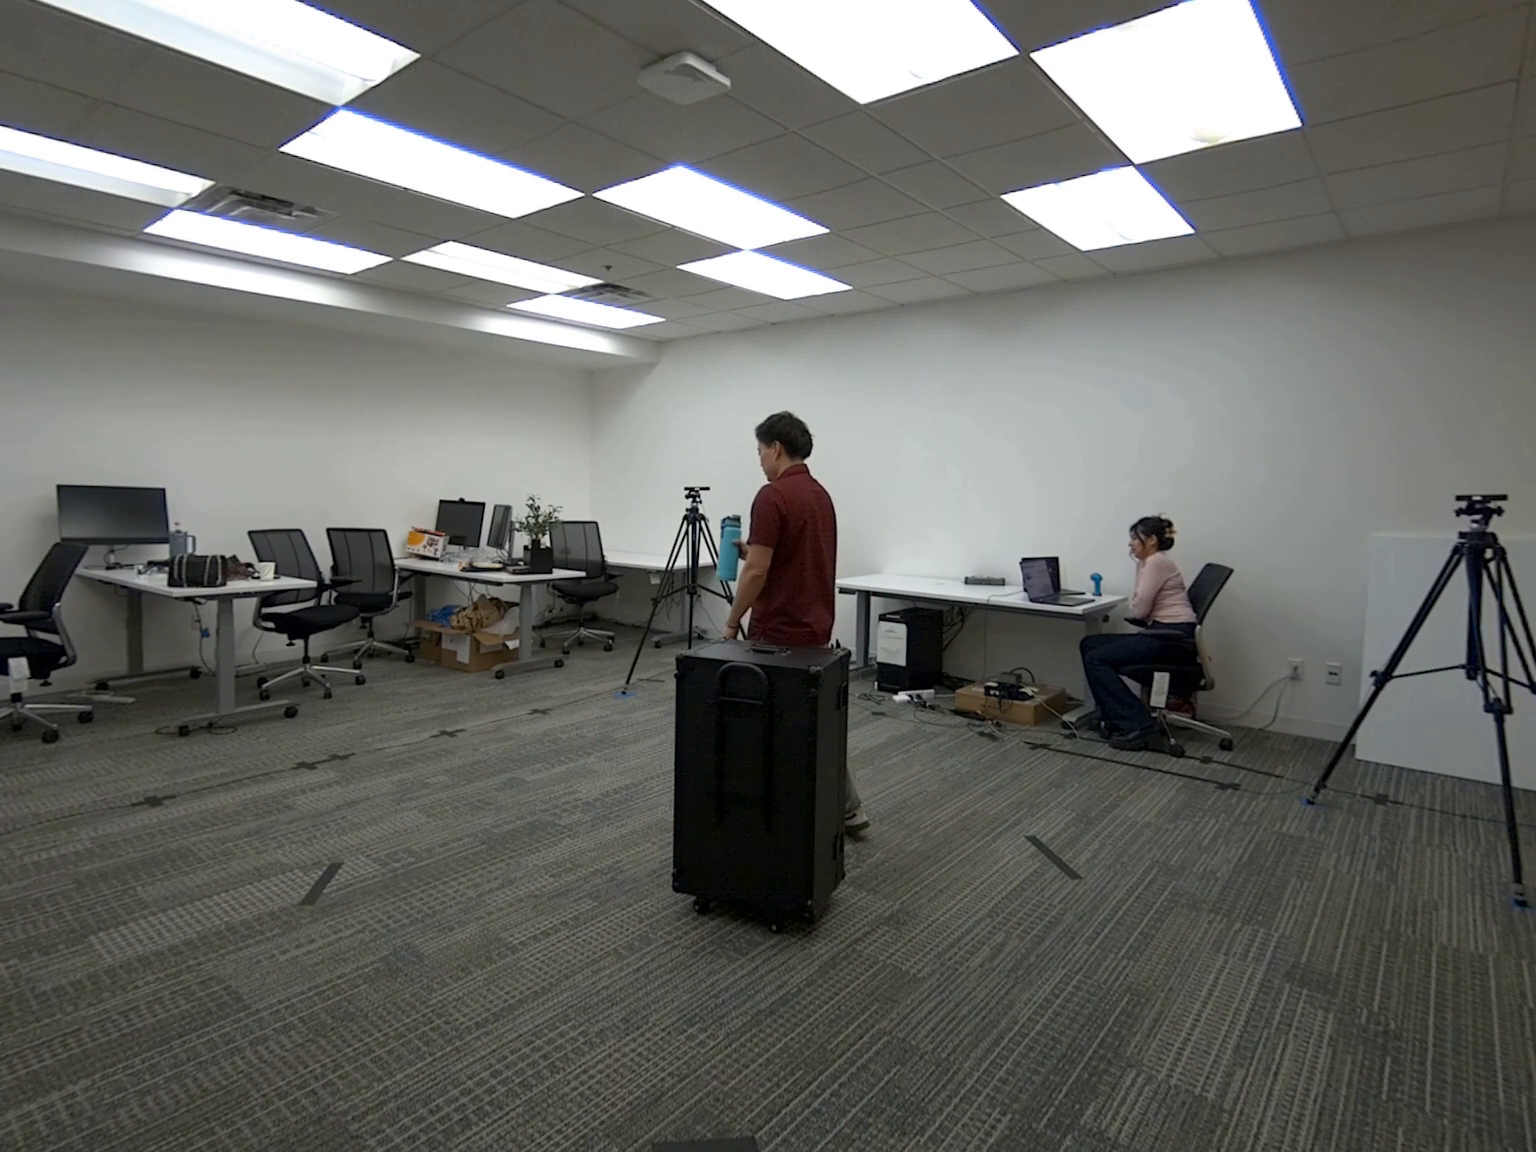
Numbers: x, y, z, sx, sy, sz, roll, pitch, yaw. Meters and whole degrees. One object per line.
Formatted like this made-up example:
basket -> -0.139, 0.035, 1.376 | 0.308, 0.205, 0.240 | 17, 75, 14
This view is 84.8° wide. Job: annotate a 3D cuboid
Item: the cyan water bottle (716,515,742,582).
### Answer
cyan water bottle -> -0.166, -0.126, 3.622 | 0.092, 0.284, 0.092 | 2, -1, -2
